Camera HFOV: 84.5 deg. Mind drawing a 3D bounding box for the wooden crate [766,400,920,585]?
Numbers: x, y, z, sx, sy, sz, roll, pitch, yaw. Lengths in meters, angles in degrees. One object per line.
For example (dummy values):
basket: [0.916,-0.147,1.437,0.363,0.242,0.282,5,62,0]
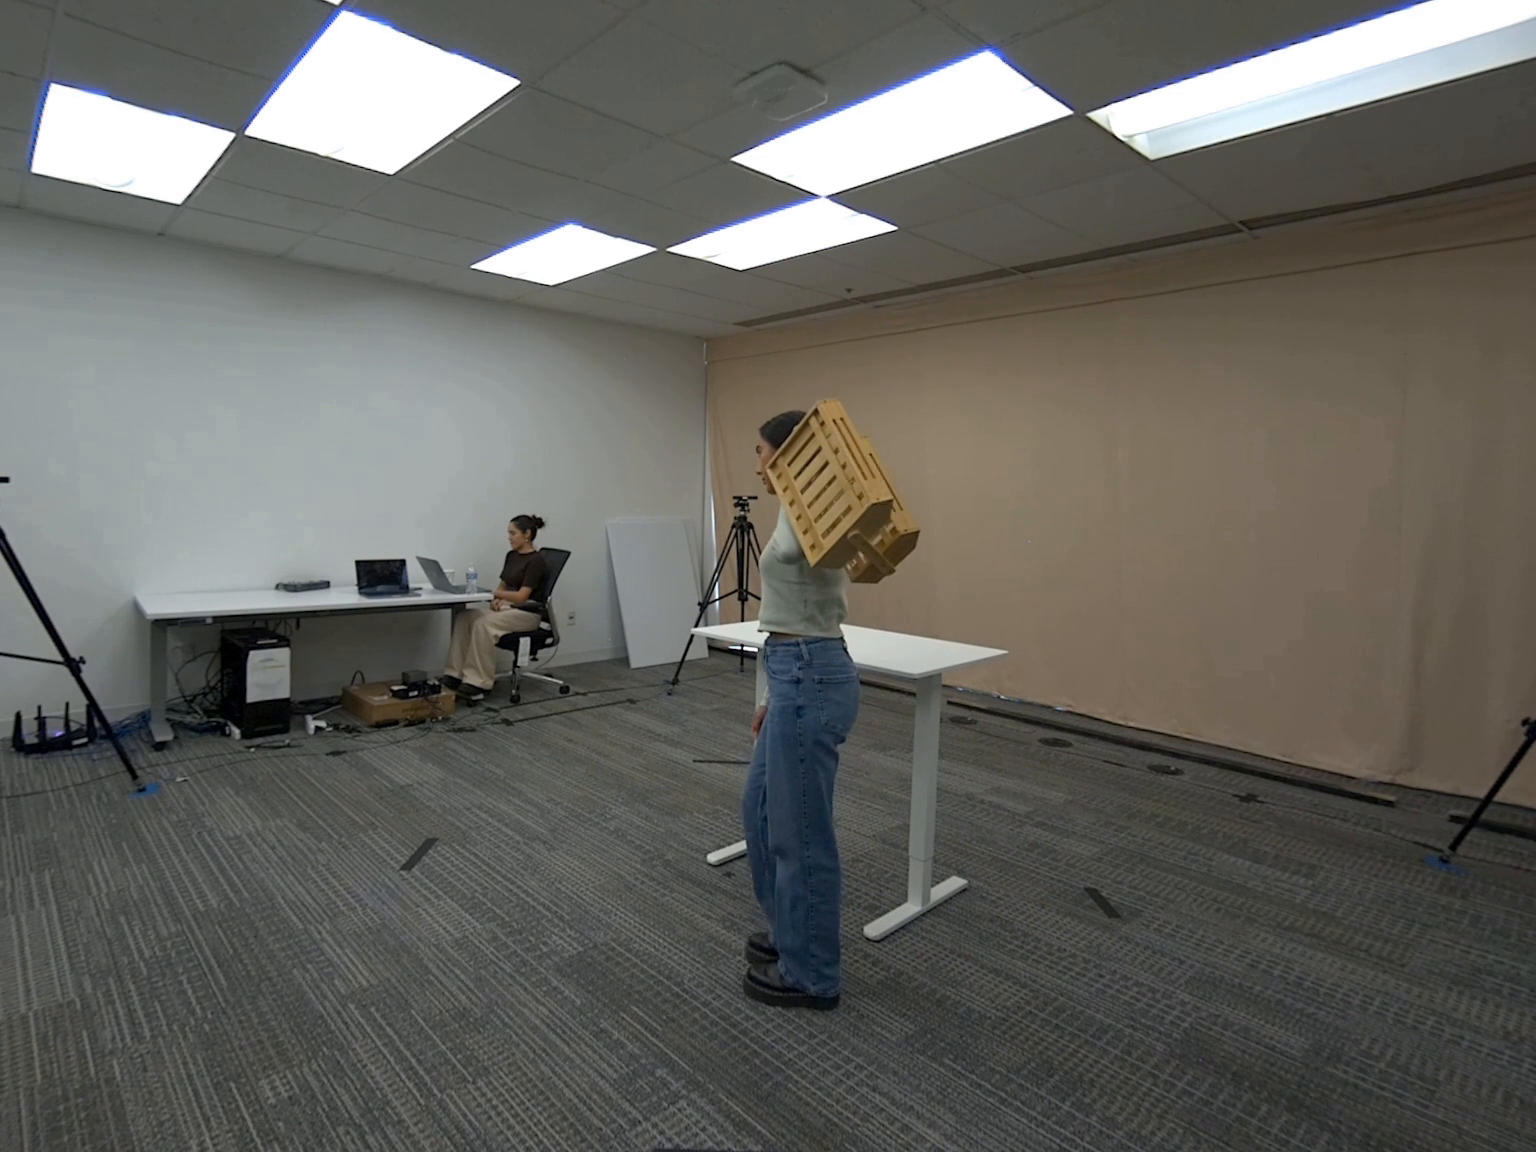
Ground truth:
wooden crate: [0.195,-0.193,1.978,0.266,0.333,0.302,4,-39,-38]
